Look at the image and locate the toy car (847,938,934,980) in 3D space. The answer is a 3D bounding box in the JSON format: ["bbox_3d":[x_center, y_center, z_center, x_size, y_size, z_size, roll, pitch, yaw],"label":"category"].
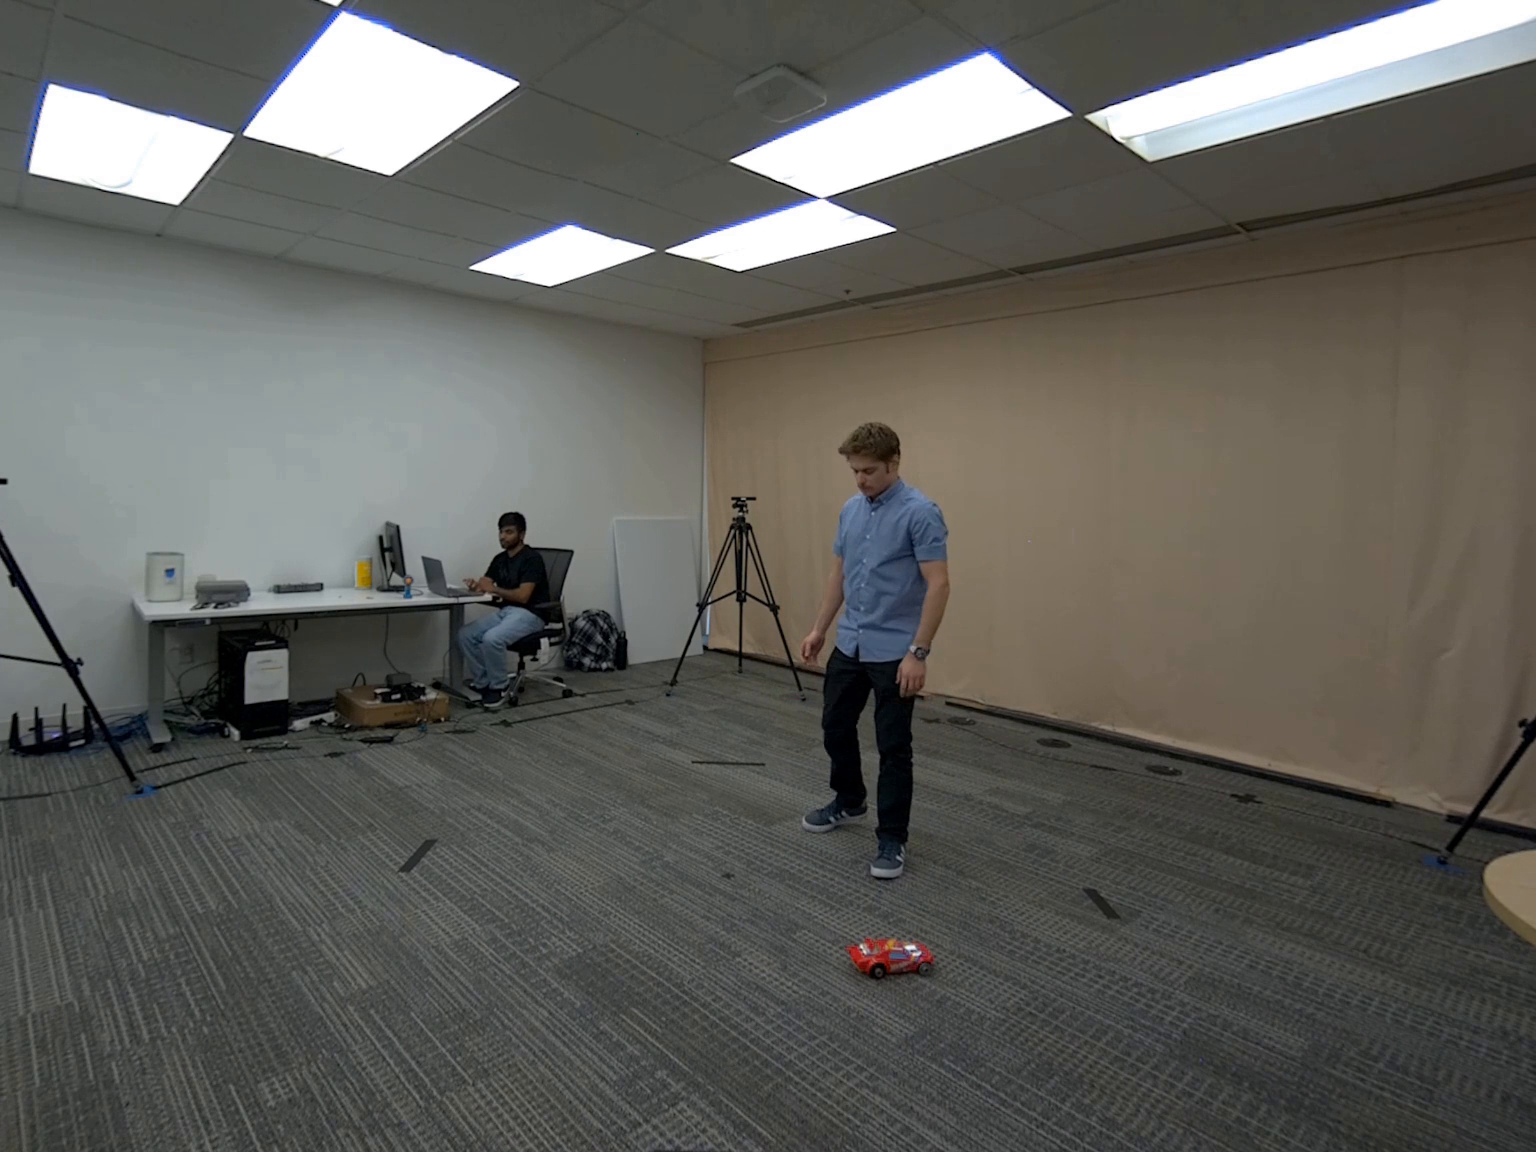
[{"bbox_3d":[0.352,1.140,2.514,0.252,0.083,0.132,12,3,-10],"label":"toy car"}]
